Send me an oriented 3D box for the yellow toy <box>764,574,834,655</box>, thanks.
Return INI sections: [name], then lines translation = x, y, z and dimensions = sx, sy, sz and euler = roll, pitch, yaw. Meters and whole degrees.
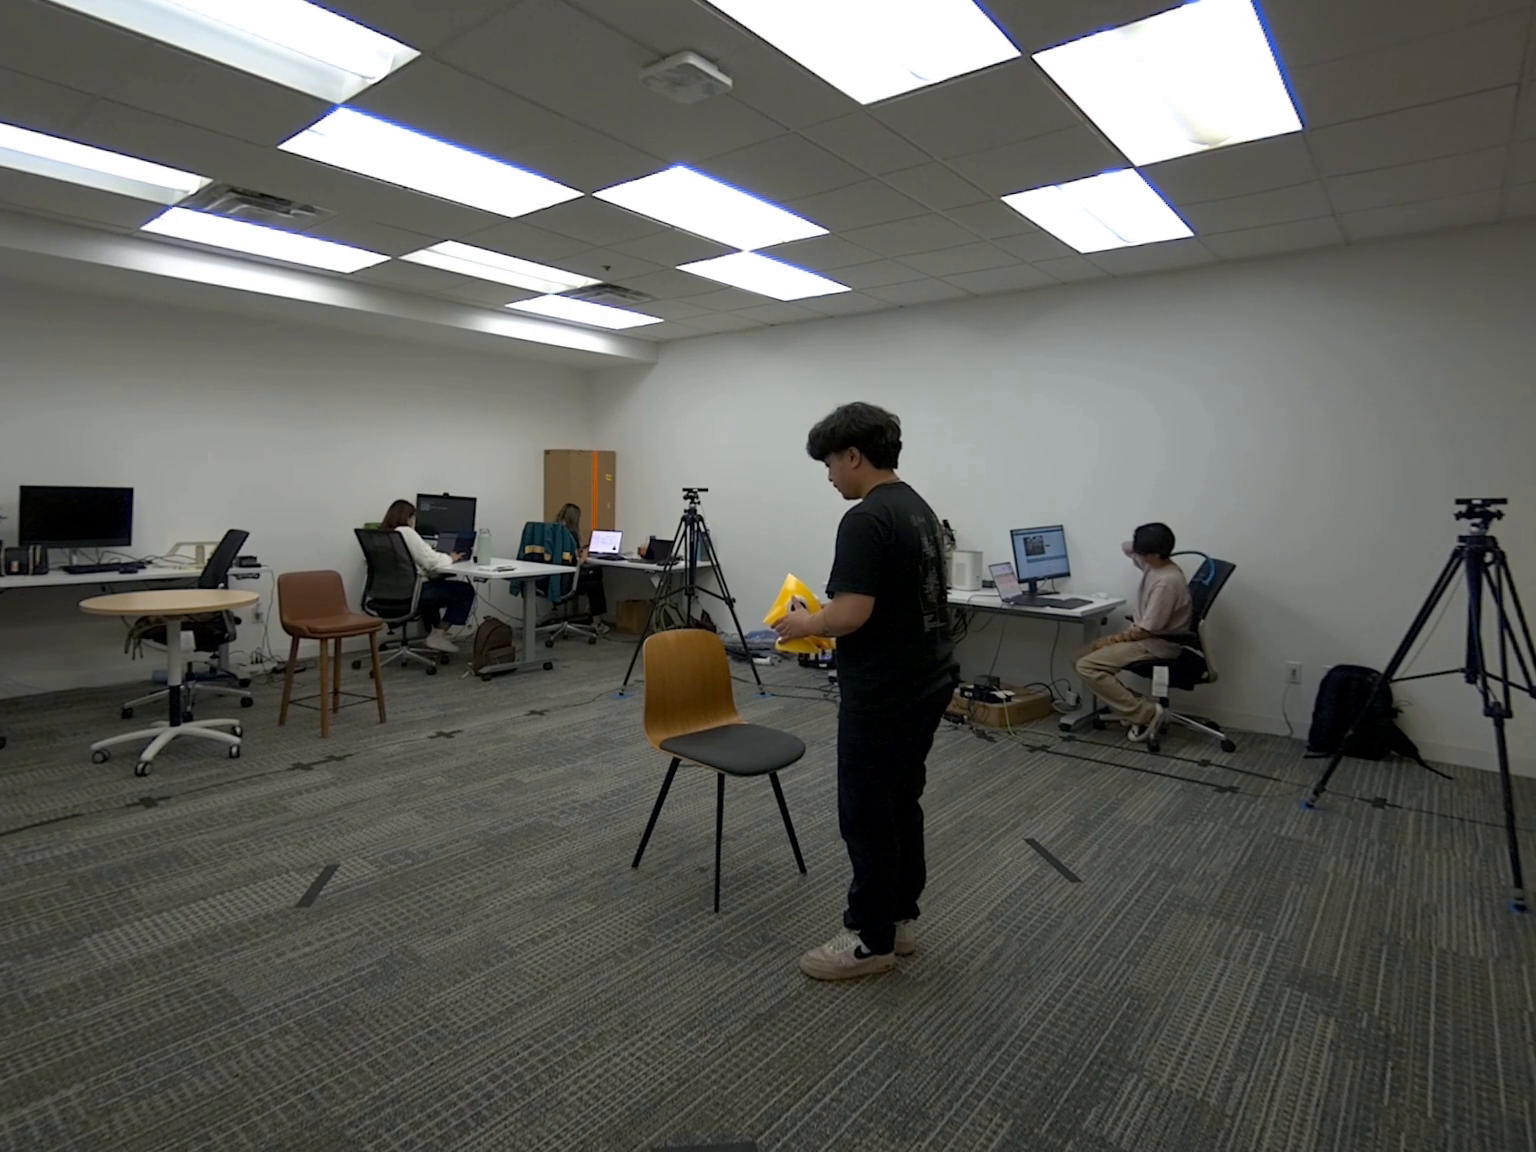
[yellow toy]
translation = 0.112, 0.110, 2.704
dimensions = 0.199, 0.230, 0.199
euler = 5, 4, 31
